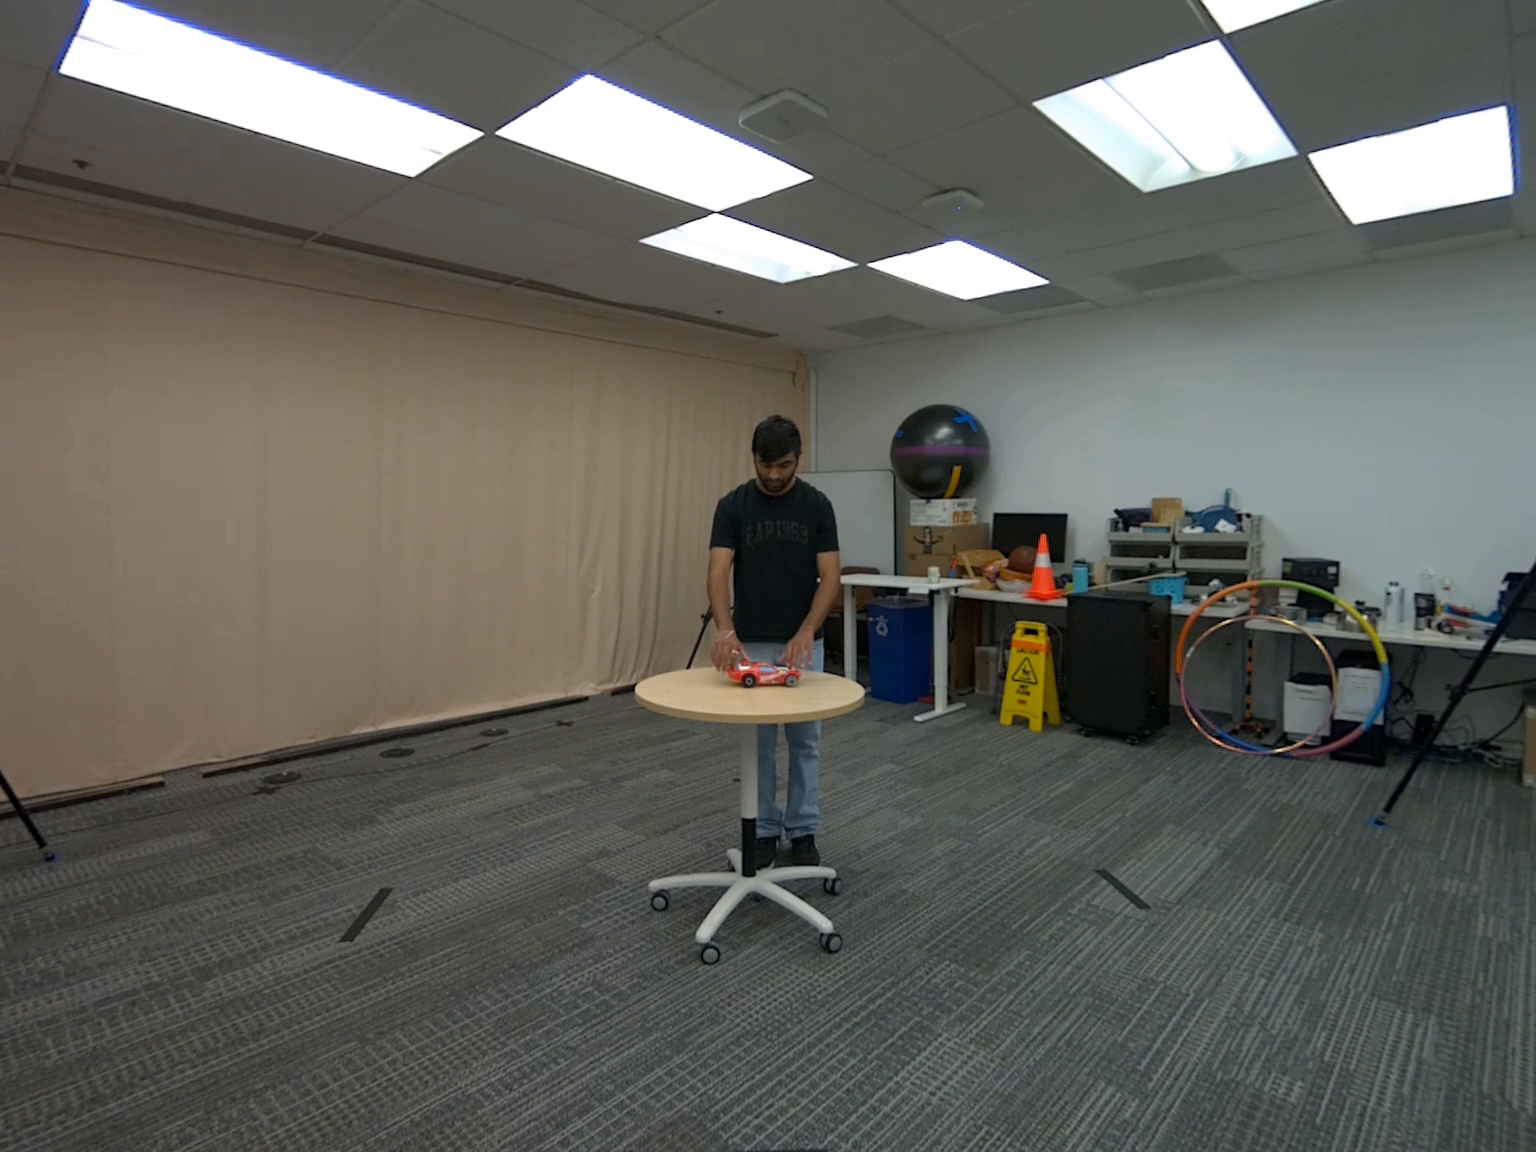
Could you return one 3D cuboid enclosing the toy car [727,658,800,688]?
[{"bbox_3d":[-0.021,0.338,2.878,0.253,0.083,0.131,8,2,-6],"label":"toy car"}]
